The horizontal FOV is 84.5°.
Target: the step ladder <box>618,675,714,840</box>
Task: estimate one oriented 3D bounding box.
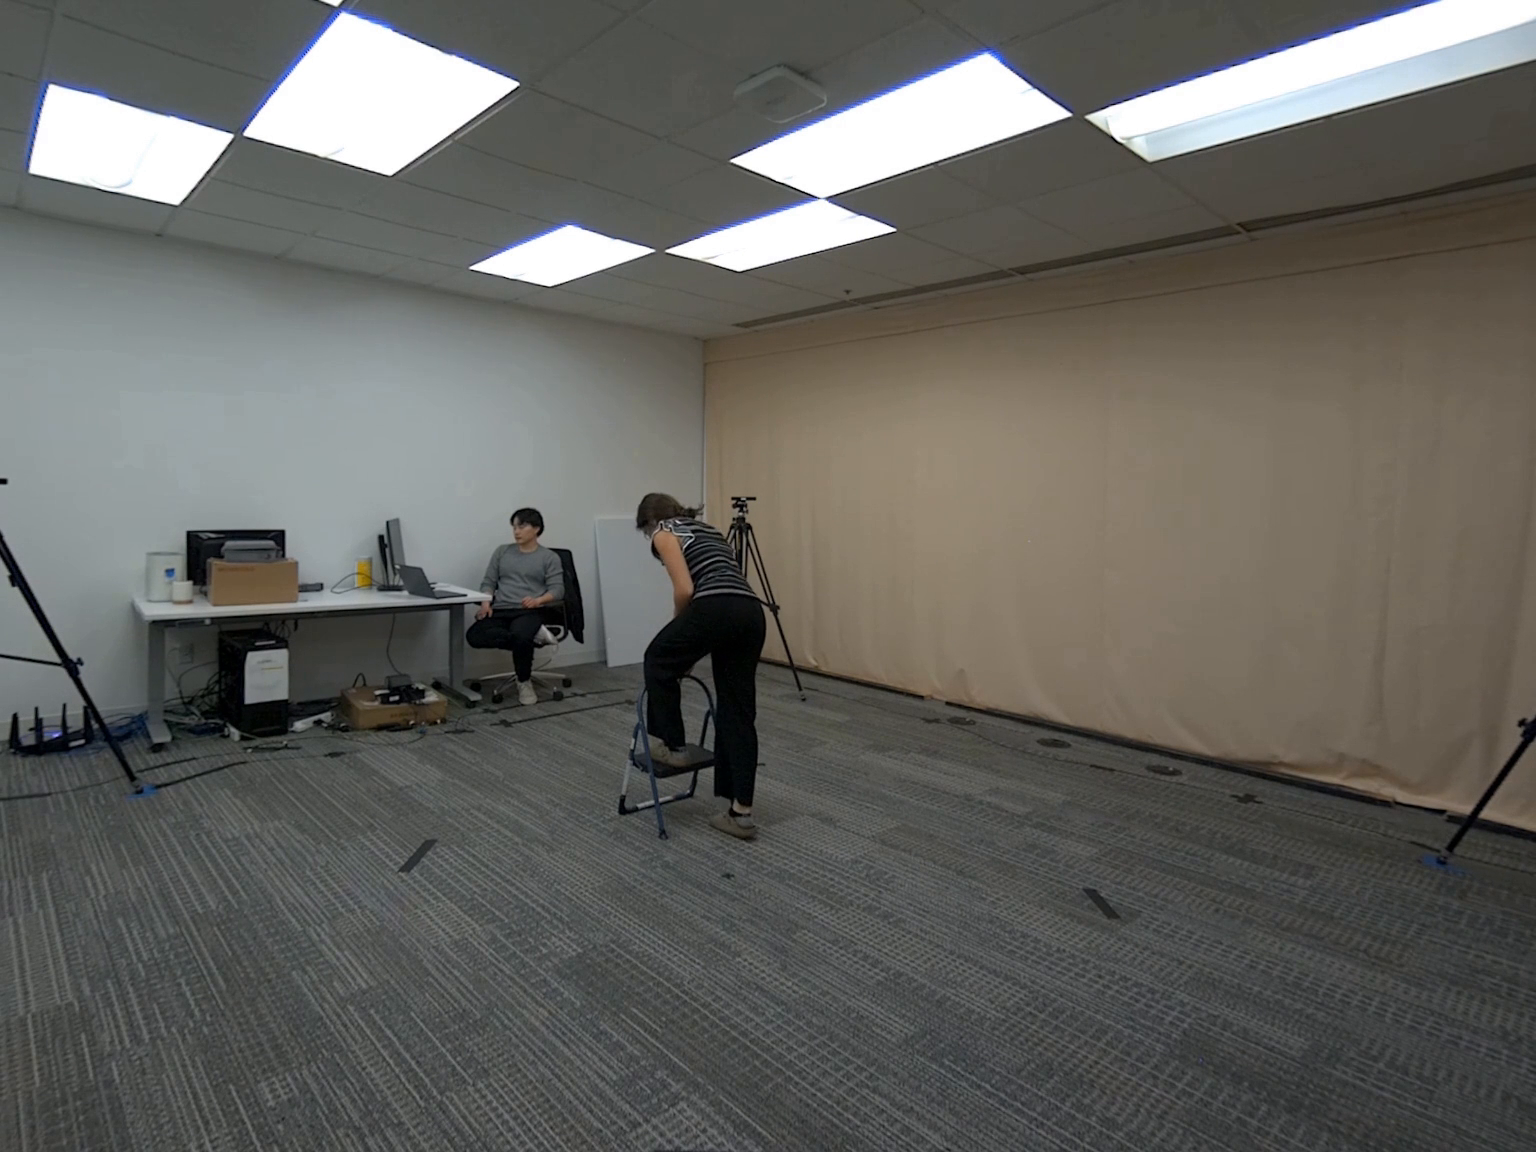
[{"bbox_3d":[-0.390,0.749,3.681,0.420,0.605,0.358,-1,4,-43],"label":"step ladder"}]
